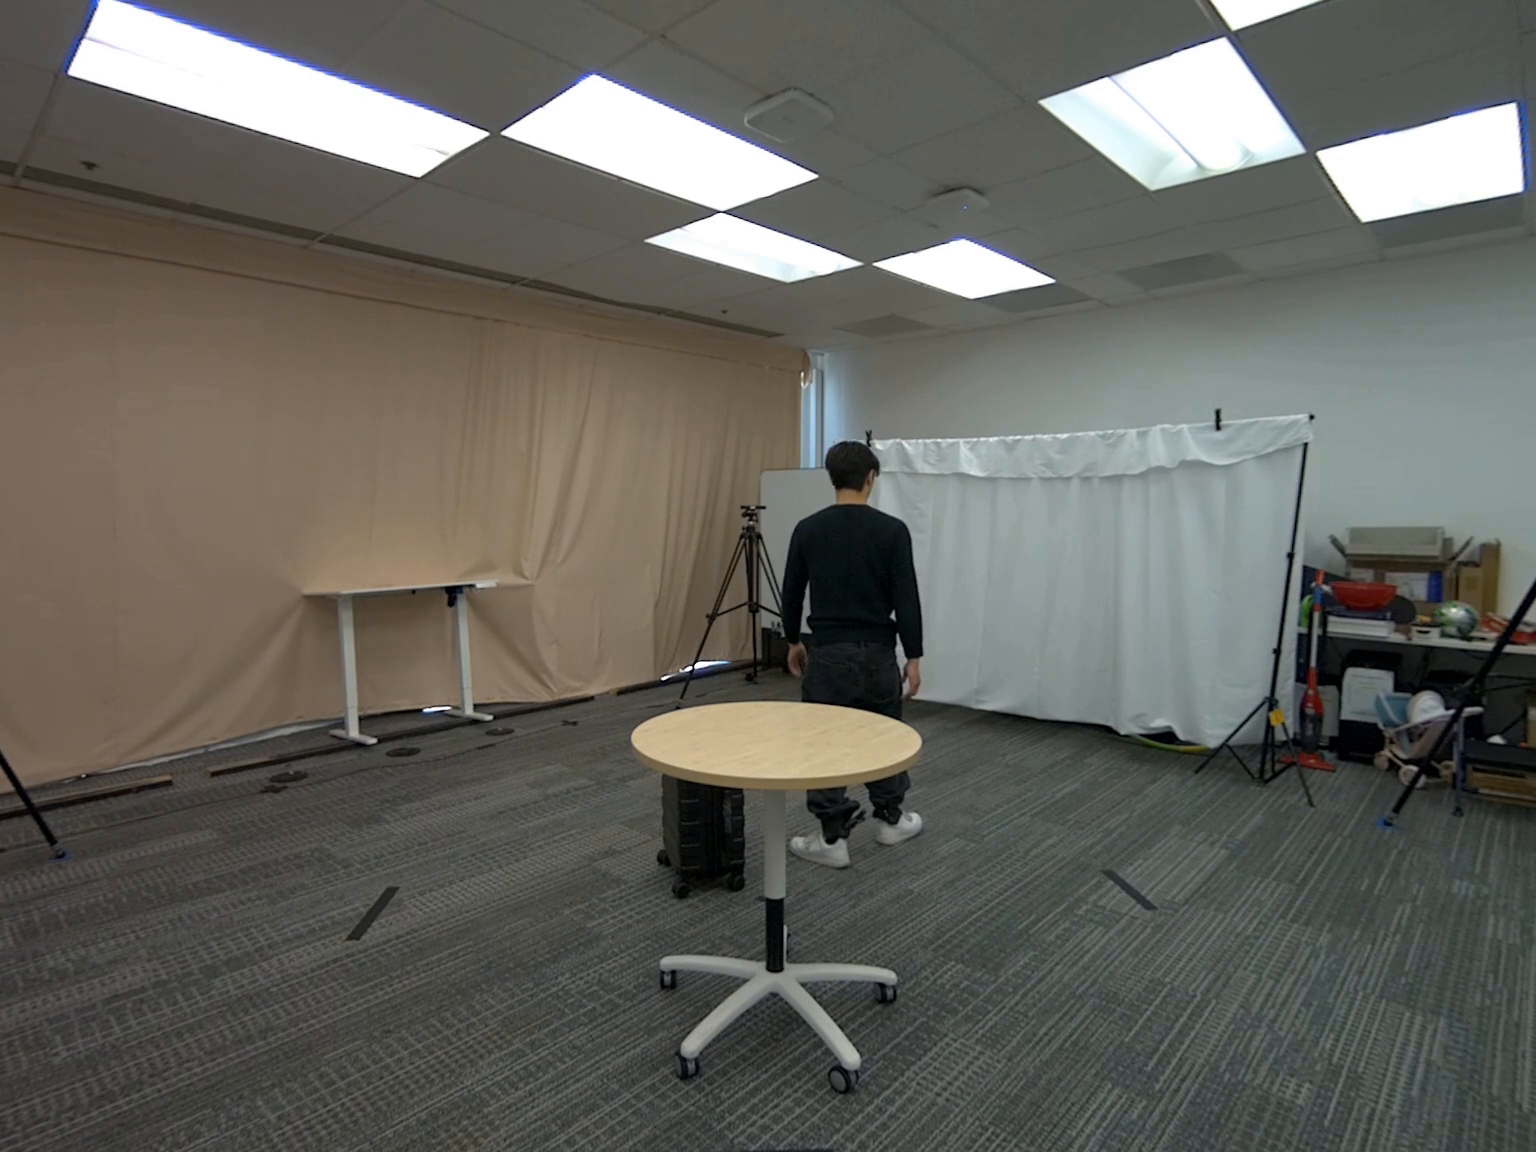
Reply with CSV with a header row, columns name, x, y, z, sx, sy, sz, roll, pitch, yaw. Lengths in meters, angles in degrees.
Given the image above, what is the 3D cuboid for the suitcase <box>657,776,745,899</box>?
name,x,y,z,sx,sy,sz,roll,pitch,yaw
suitcase,-0.250,0.851,3.166,0.244,0.548,0.382,1,3,-17
